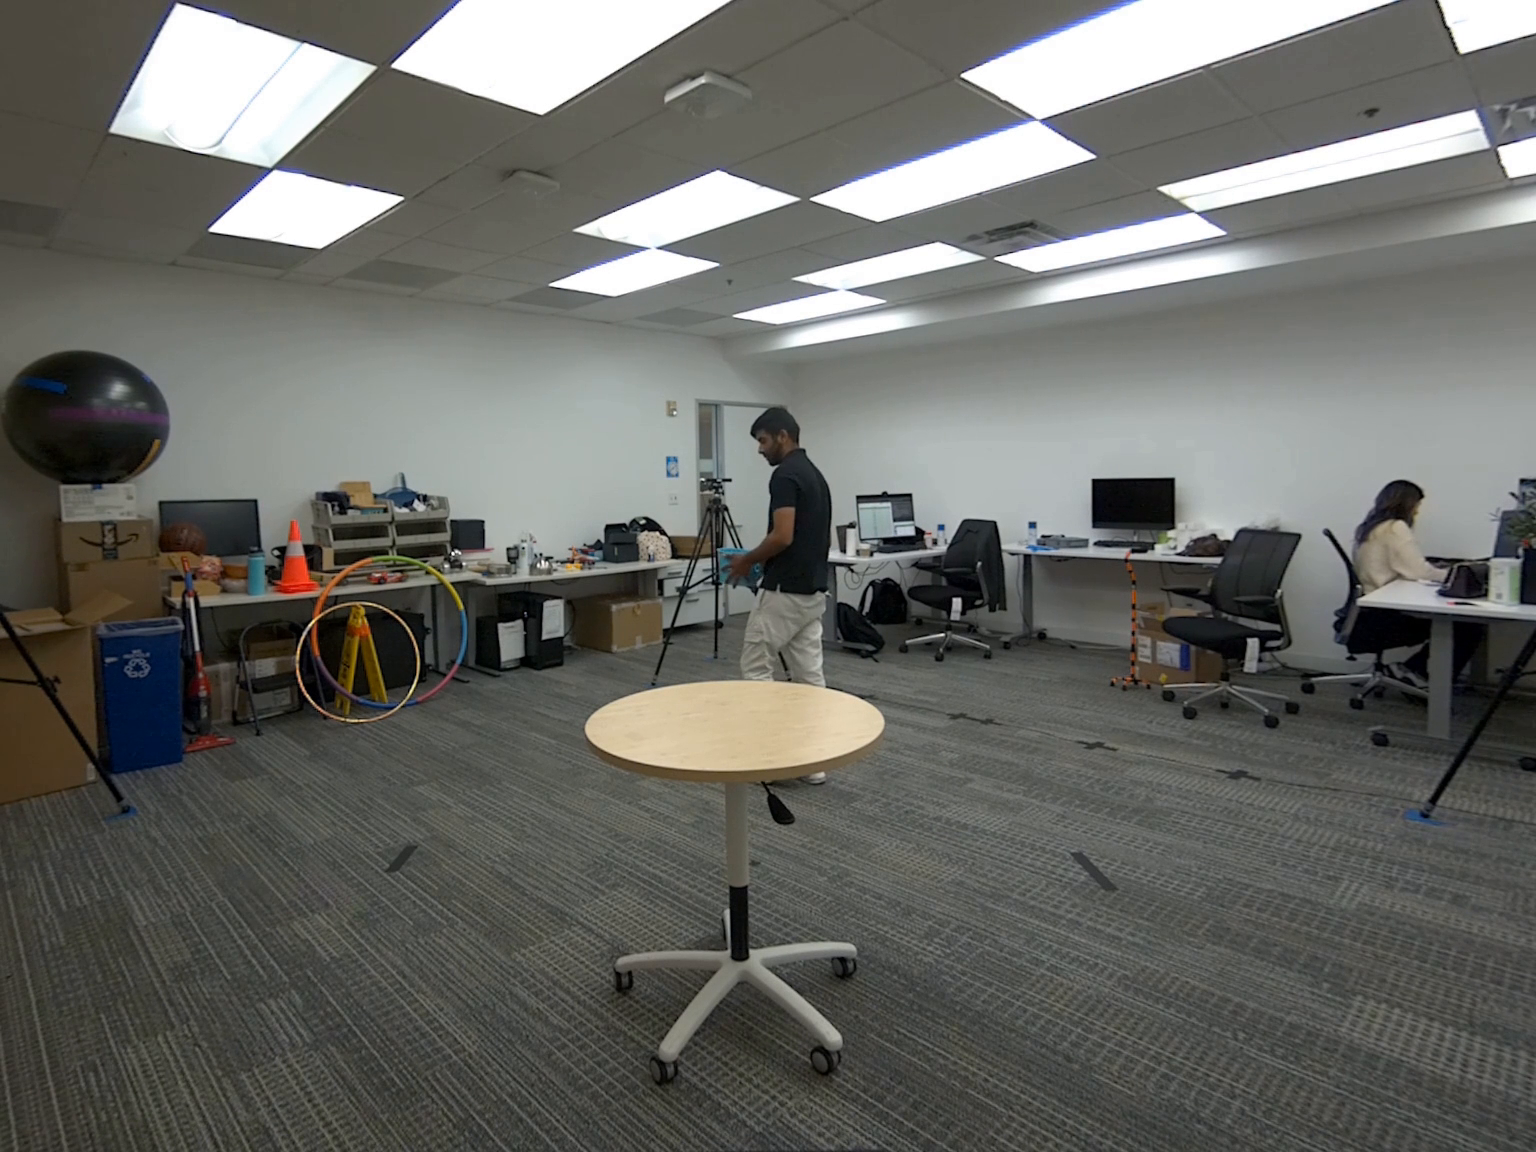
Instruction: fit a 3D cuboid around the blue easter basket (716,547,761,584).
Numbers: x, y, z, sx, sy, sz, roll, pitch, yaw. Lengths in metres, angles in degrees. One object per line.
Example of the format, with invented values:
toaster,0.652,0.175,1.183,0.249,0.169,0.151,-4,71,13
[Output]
blue easter basket,-0.107,-0.042,4.105,0.243,0.155,0.245,3,8,-2
